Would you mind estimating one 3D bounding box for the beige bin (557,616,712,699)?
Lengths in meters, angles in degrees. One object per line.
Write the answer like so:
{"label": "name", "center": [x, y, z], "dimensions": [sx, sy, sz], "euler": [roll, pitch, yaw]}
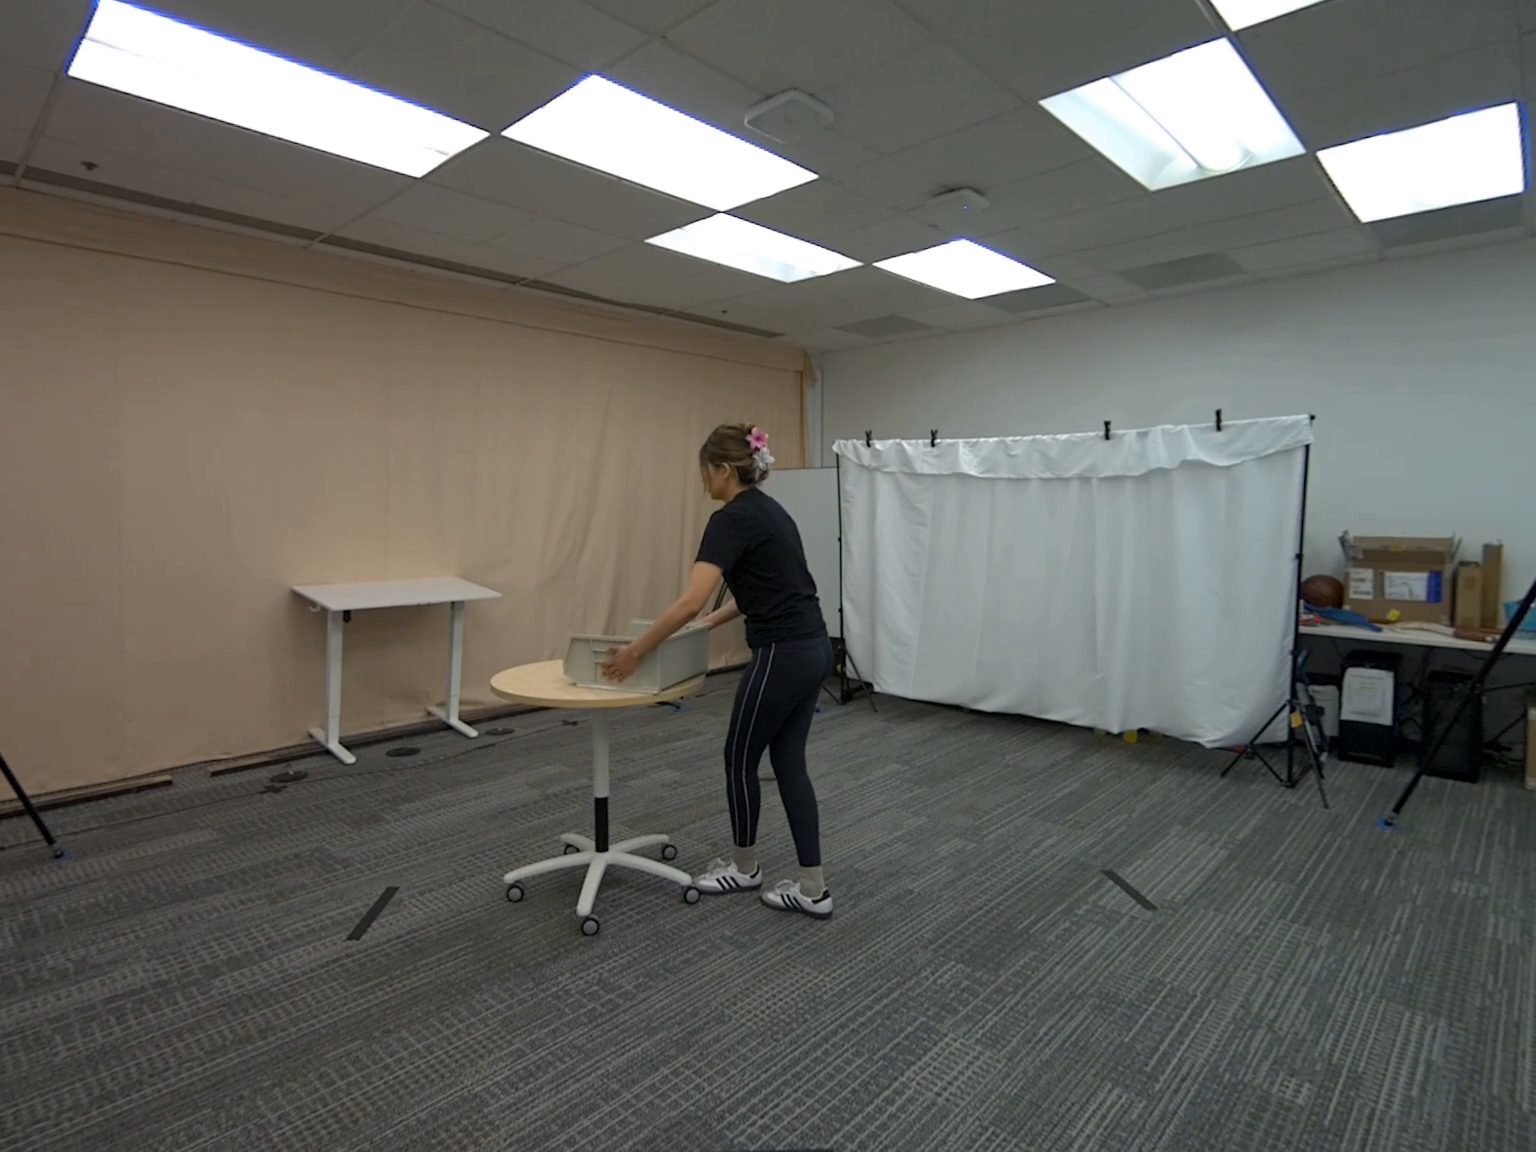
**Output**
{"label": "beige bin", "center": [-0.461, 0.273, 2.978], "dimensions": [0.386, 0.188, 0.413], "euler": [4, 4, 21]}
